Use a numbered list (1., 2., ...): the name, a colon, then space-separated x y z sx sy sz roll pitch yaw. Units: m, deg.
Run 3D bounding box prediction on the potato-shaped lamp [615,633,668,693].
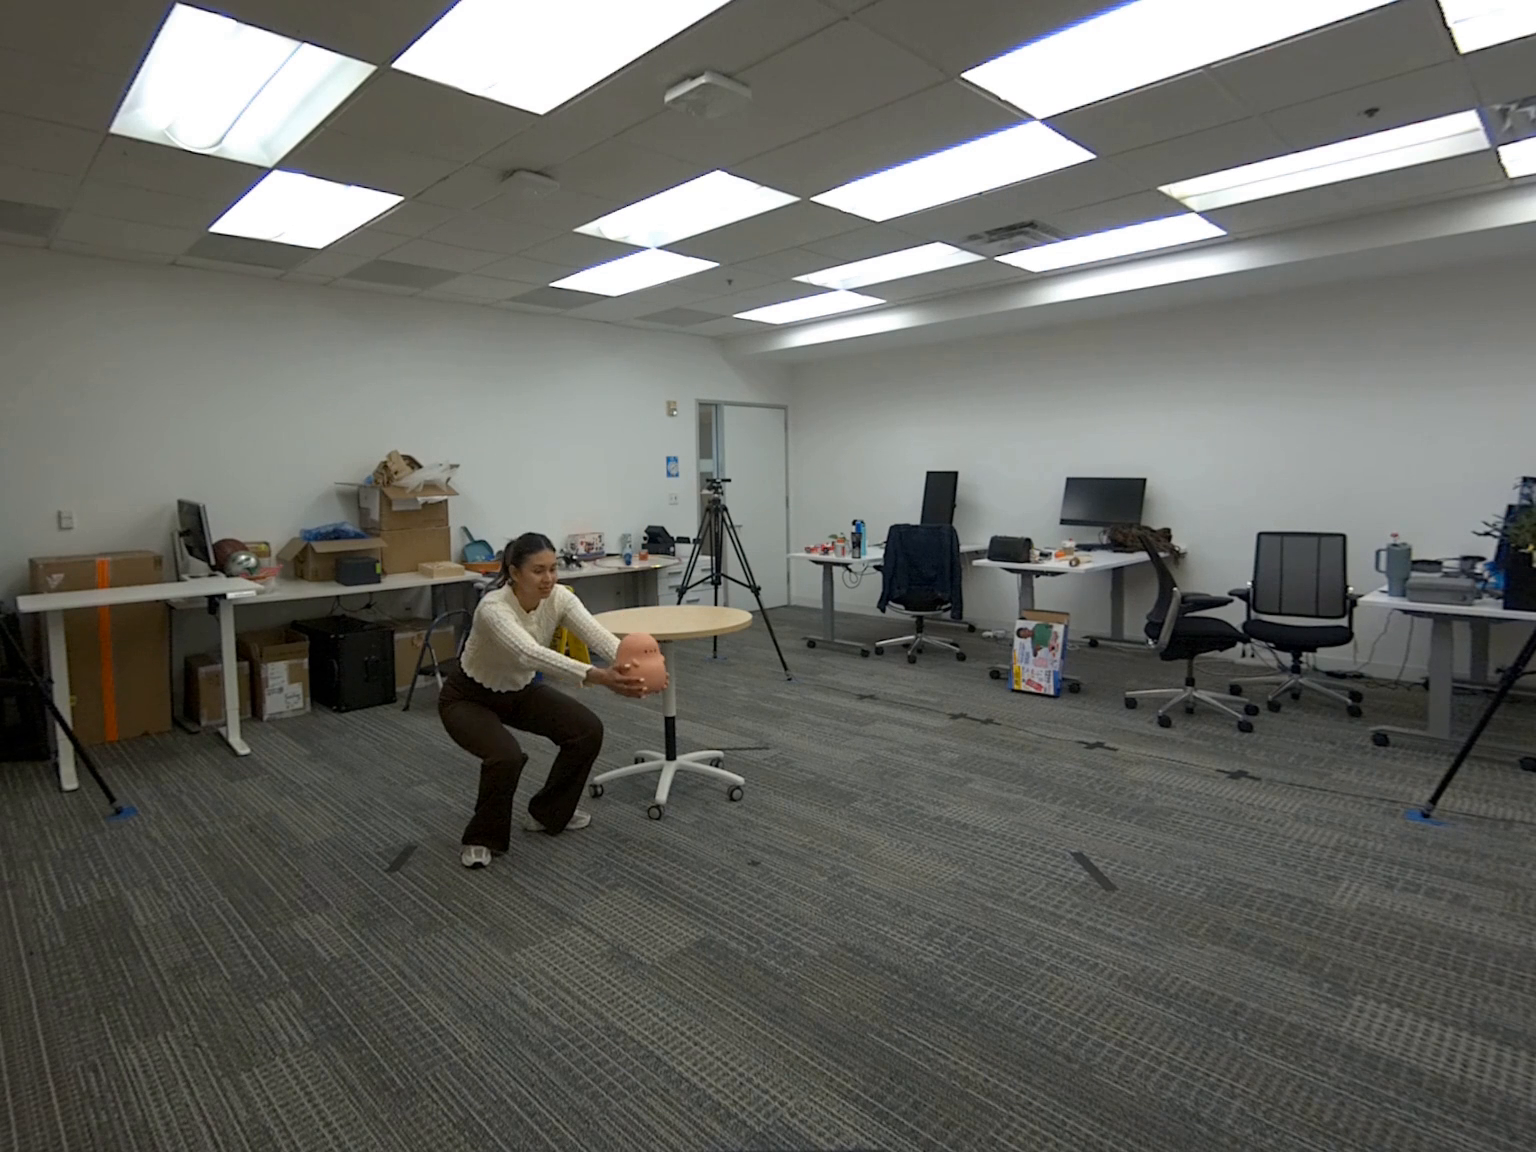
1. potato-shaped lamp: -0.423 0.284 2.832 0.160 0.197 0.177 -1 6 -42
